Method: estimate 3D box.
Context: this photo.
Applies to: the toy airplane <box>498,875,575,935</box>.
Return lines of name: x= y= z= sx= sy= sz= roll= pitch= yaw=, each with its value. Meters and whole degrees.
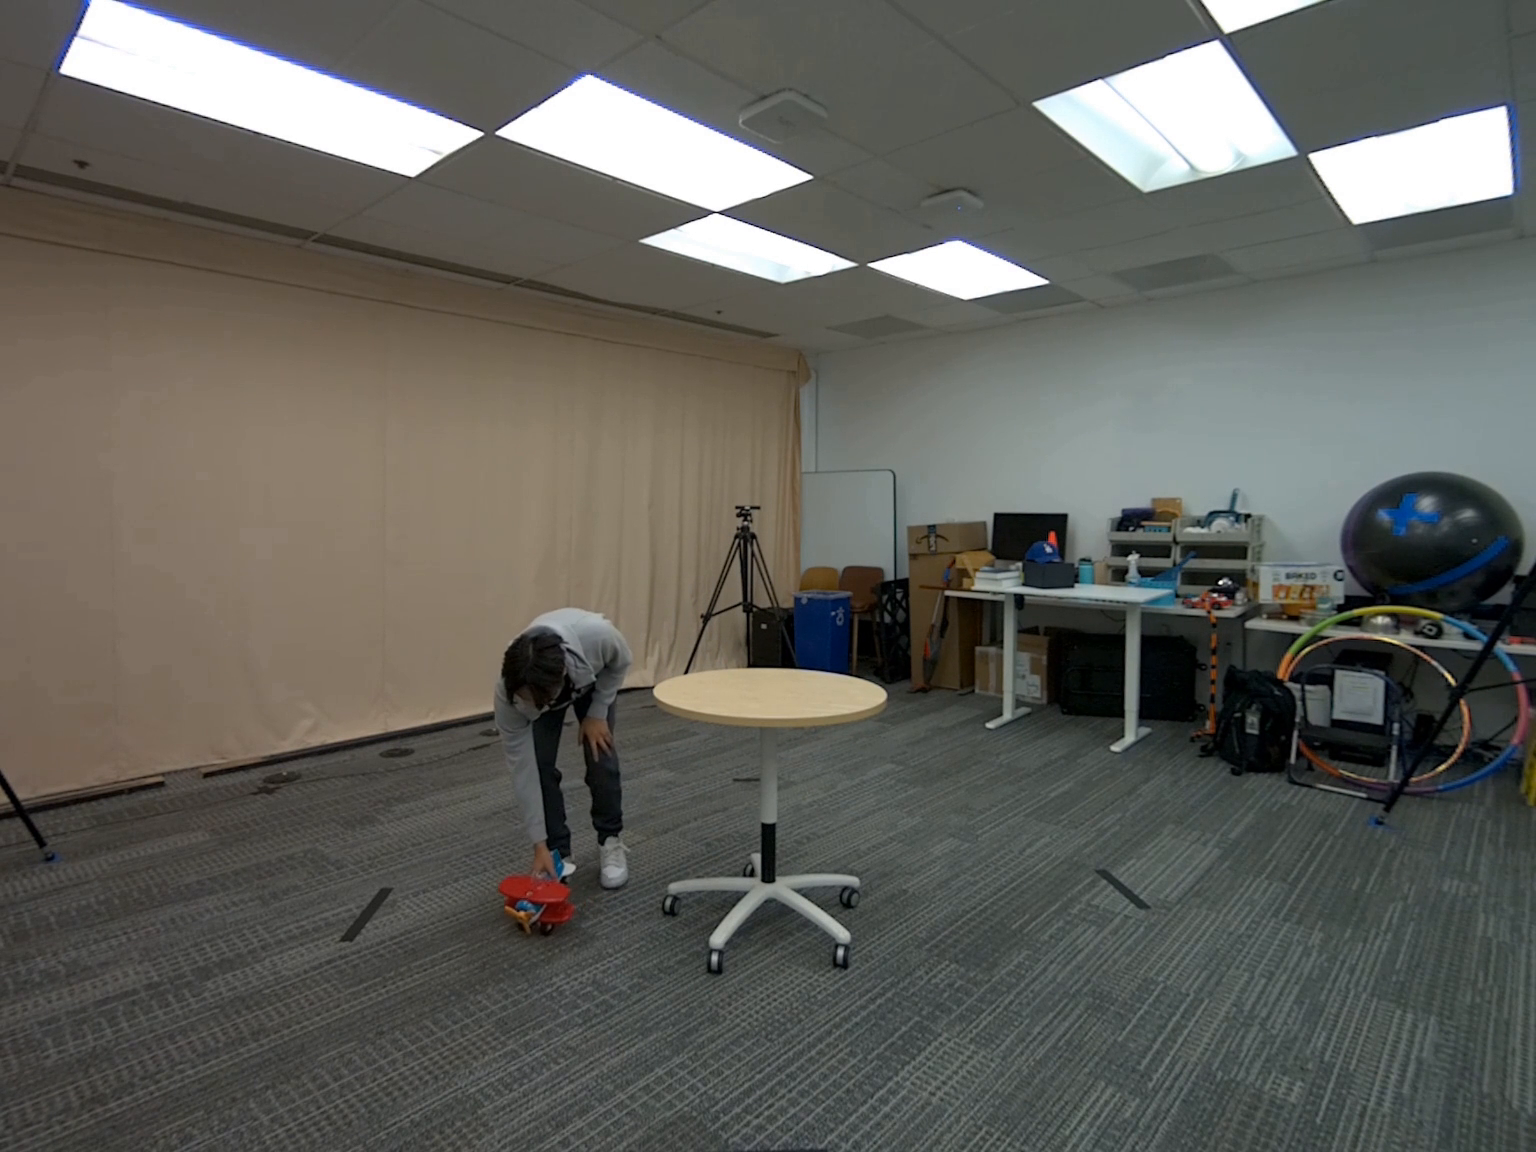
toy airplane: x=-0.764 y=1.056 z=2.810 sx=0.250 sy=0.152 sz=0.267 roll=-17 pitch=37 yaw=-5
